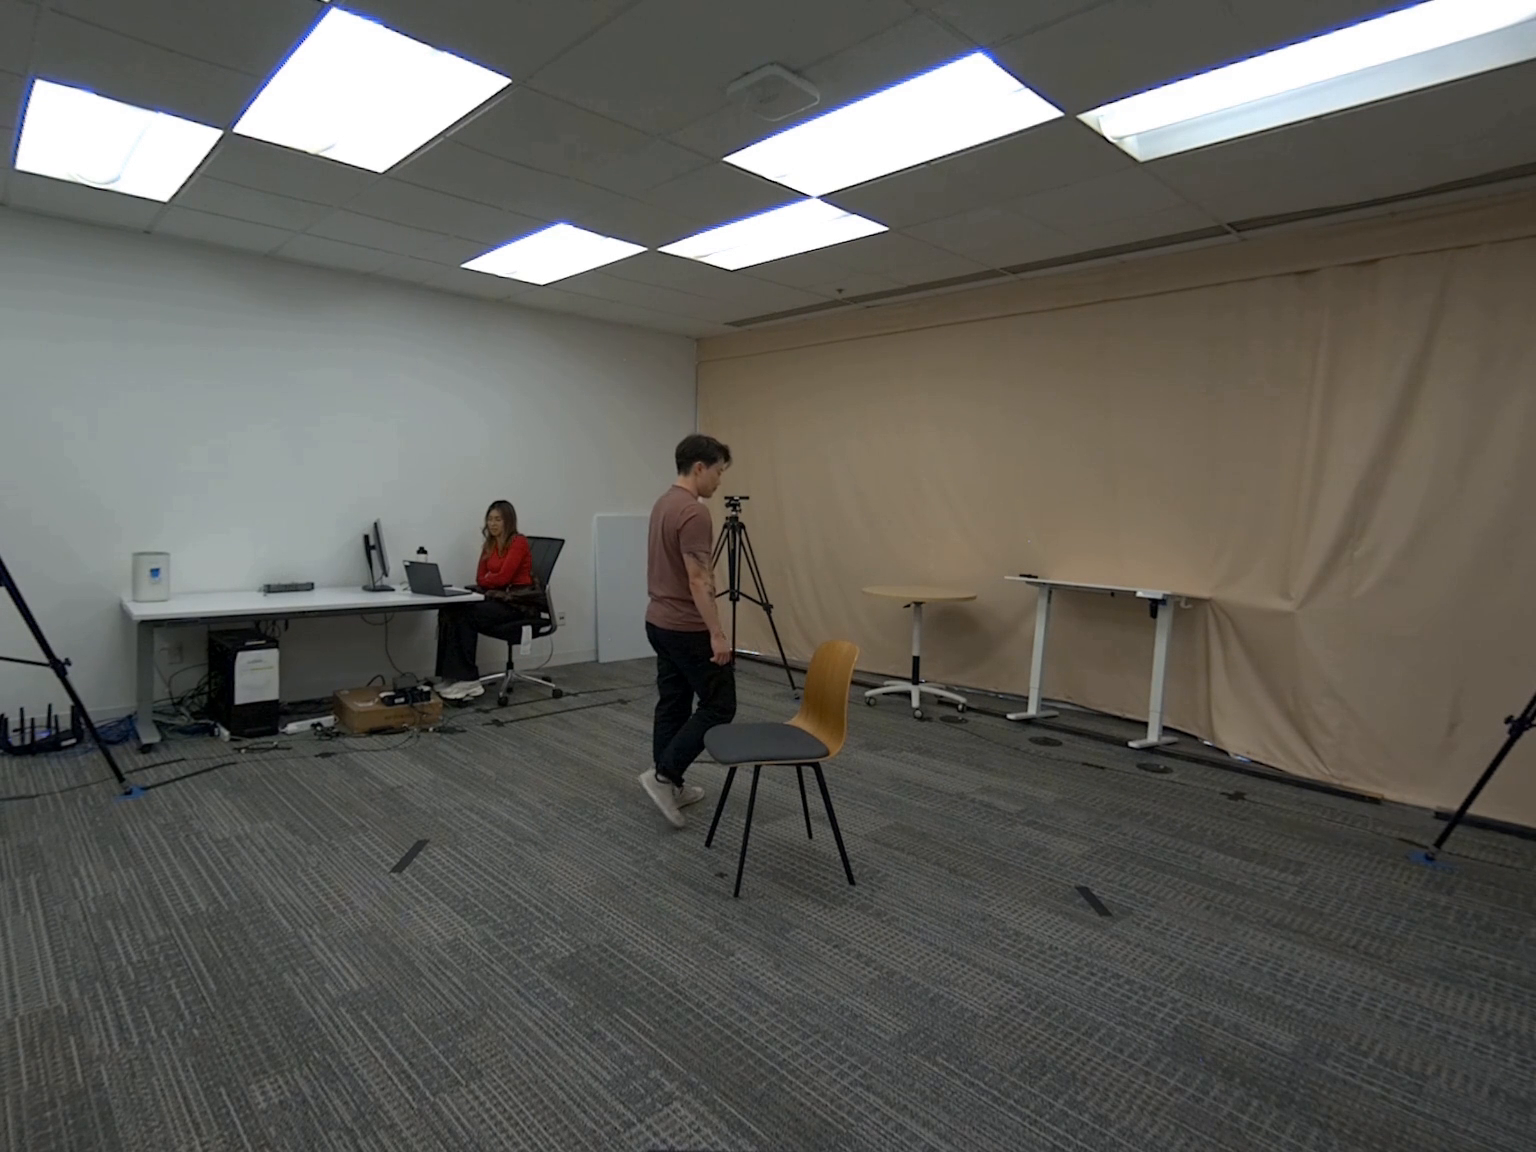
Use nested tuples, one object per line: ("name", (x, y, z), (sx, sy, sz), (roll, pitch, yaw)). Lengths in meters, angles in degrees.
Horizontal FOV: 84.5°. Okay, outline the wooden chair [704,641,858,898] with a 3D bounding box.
("wooden chair", (0.034, 0.676, 3.167), (0.516, 0.876, 0.485), (5, 2, -17))
